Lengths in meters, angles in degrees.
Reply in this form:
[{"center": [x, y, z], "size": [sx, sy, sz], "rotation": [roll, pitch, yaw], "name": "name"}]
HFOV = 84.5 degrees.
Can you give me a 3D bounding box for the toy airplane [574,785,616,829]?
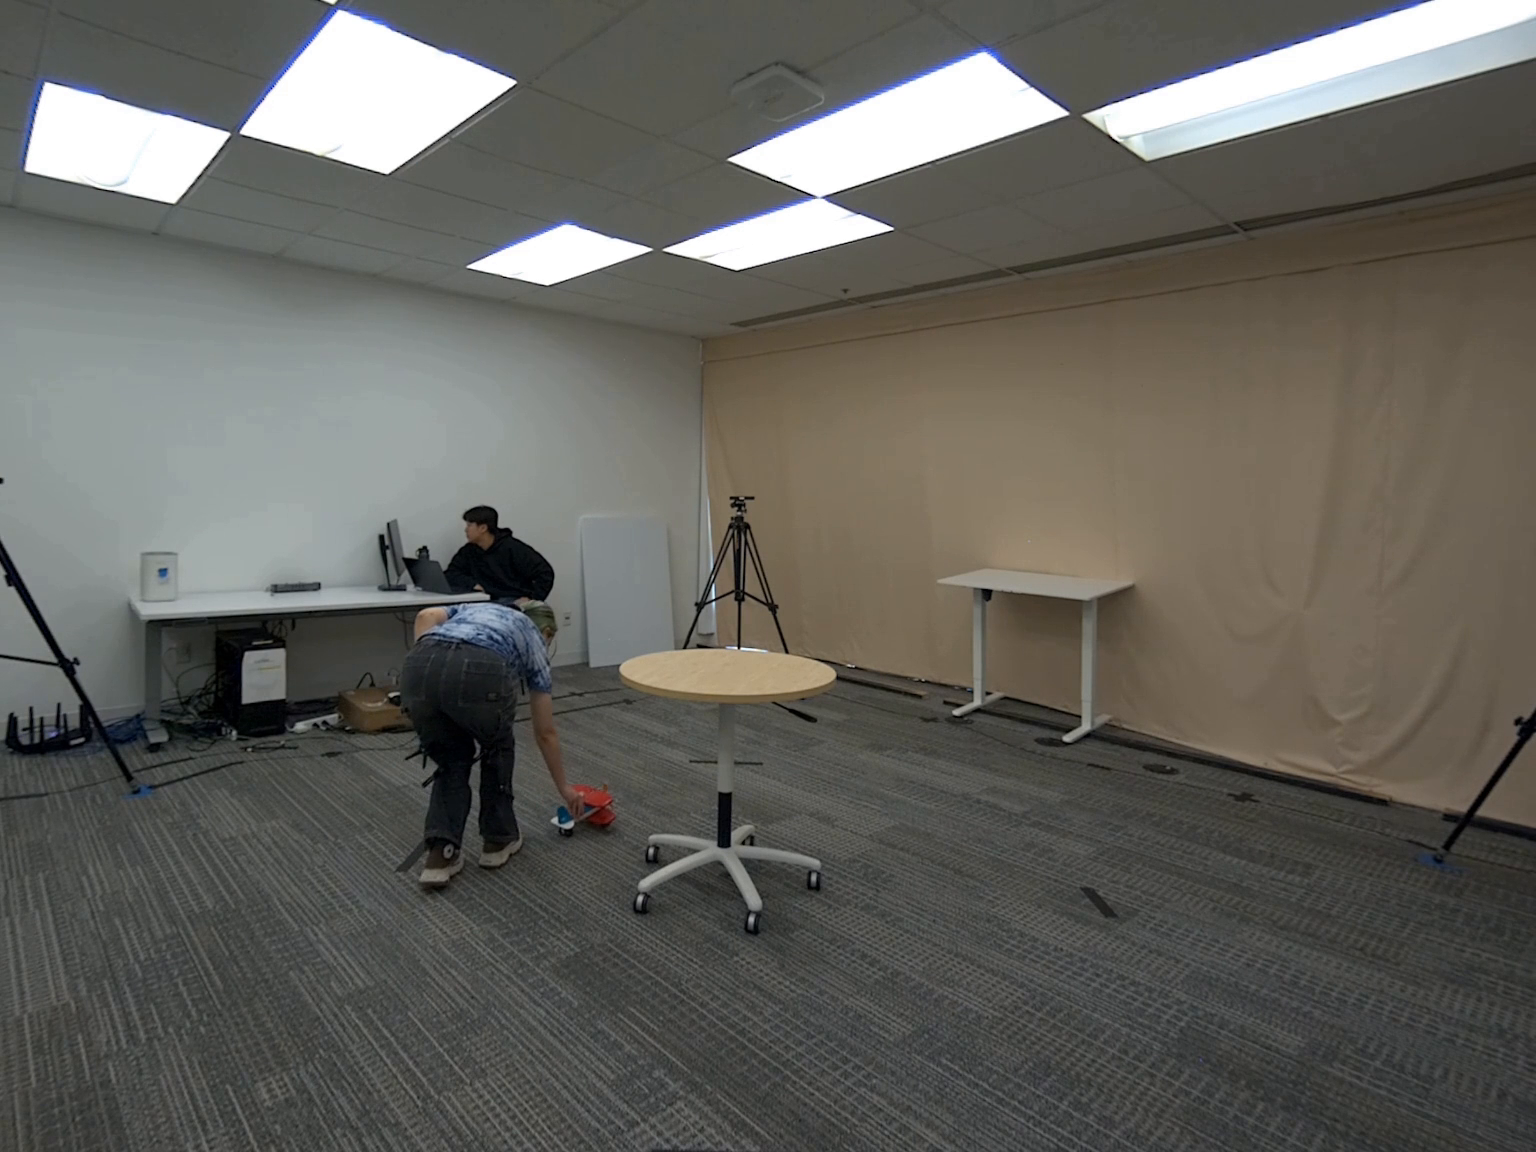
[{"center": [-0.759, 0.982, 3.488], "size": [0.253, 0.156, 0.257], "rotation": [1, 3, 10], "name": "toy airplane"}]
